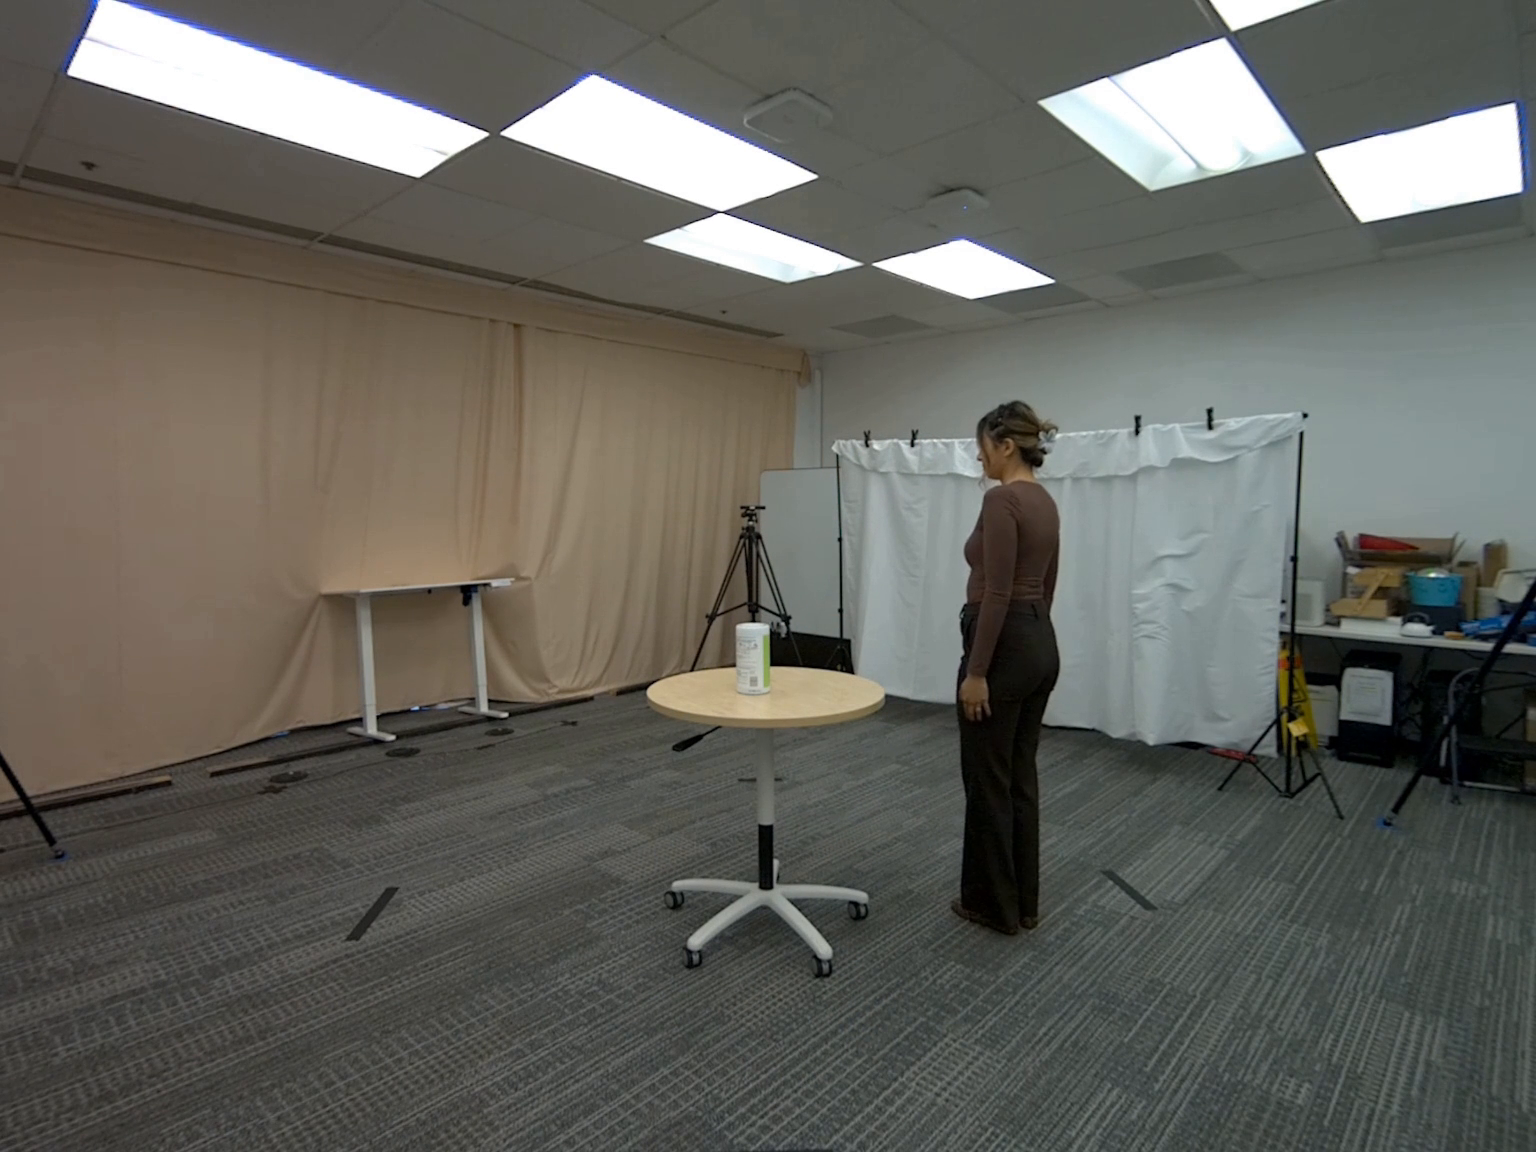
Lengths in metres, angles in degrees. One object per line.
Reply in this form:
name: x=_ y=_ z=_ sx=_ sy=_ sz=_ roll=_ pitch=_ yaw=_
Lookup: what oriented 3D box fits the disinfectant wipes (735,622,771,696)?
disinfectant wipes: x=-0.041 y=0.268 z=2.689 sx=0.118 sy=0.217 sz=0.118 roll=-2 pitch=2 yaw=-2
